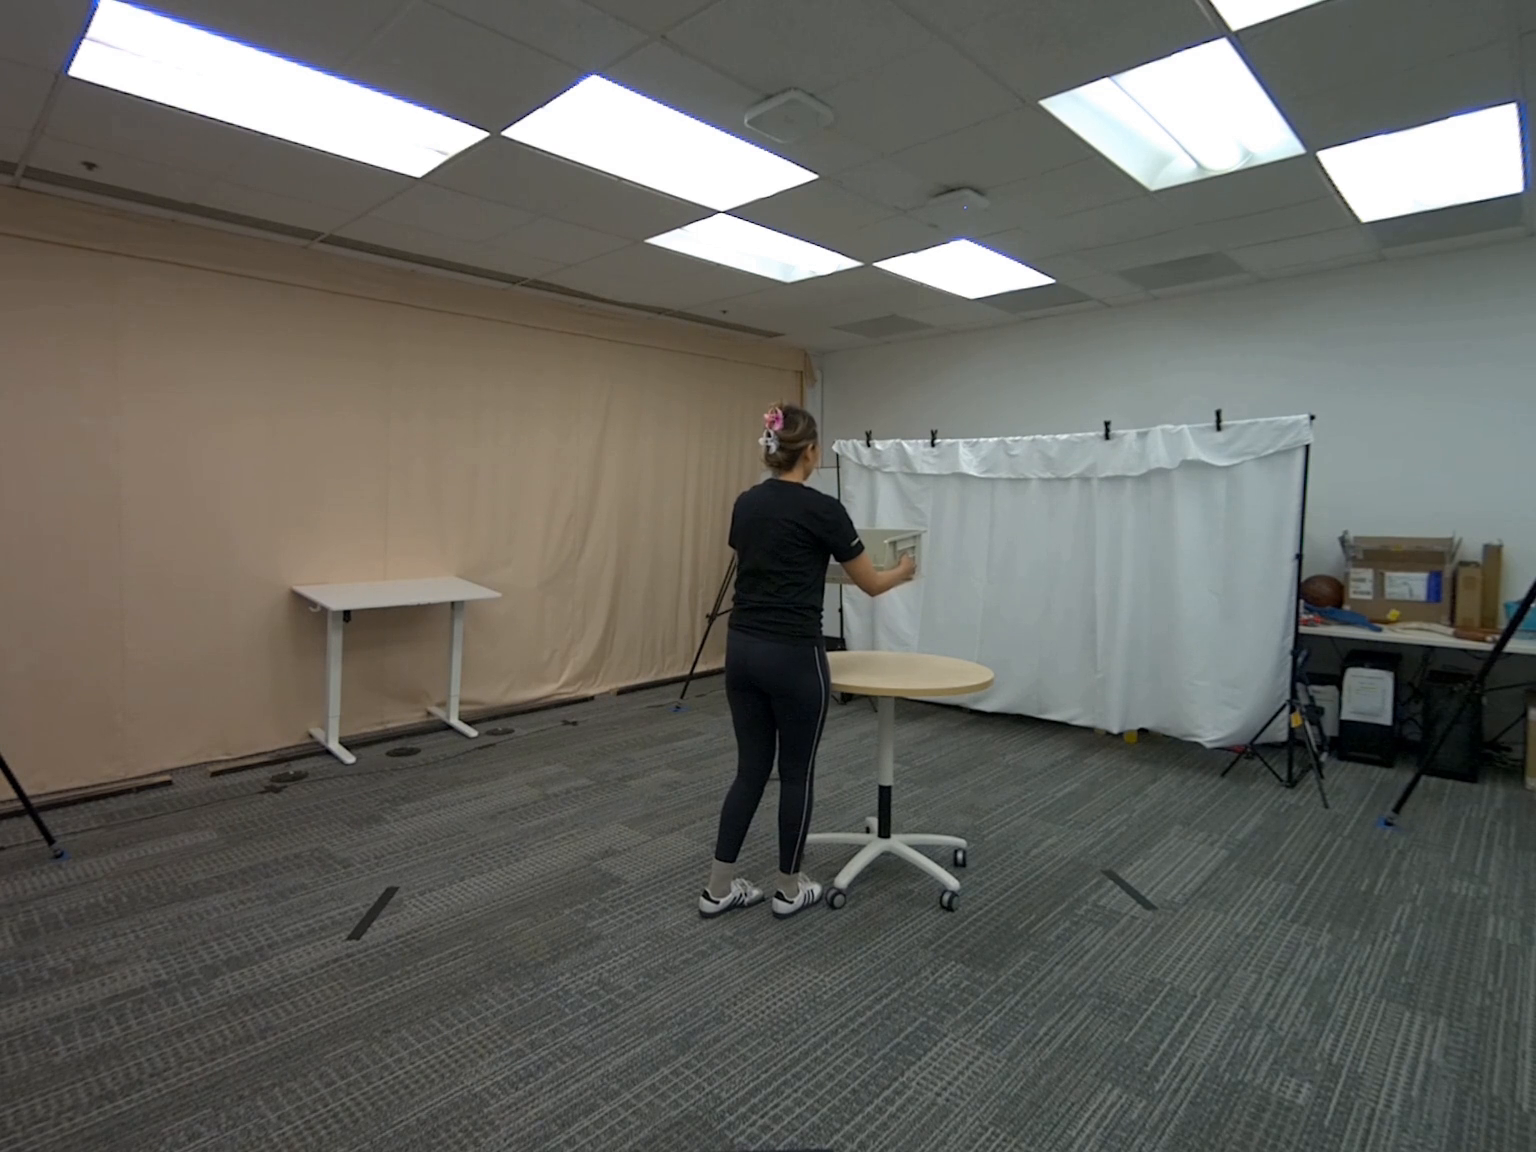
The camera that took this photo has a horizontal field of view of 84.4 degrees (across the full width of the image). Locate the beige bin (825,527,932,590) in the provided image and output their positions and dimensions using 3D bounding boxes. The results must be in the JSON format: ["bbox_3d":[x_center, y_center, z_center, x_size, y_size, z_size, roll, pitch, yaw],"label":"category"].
[{"bbox_3d":[0.334,-0.073,3.185,0.435,0.188,0.367,2,7,35],"label":"beige bin"}]
